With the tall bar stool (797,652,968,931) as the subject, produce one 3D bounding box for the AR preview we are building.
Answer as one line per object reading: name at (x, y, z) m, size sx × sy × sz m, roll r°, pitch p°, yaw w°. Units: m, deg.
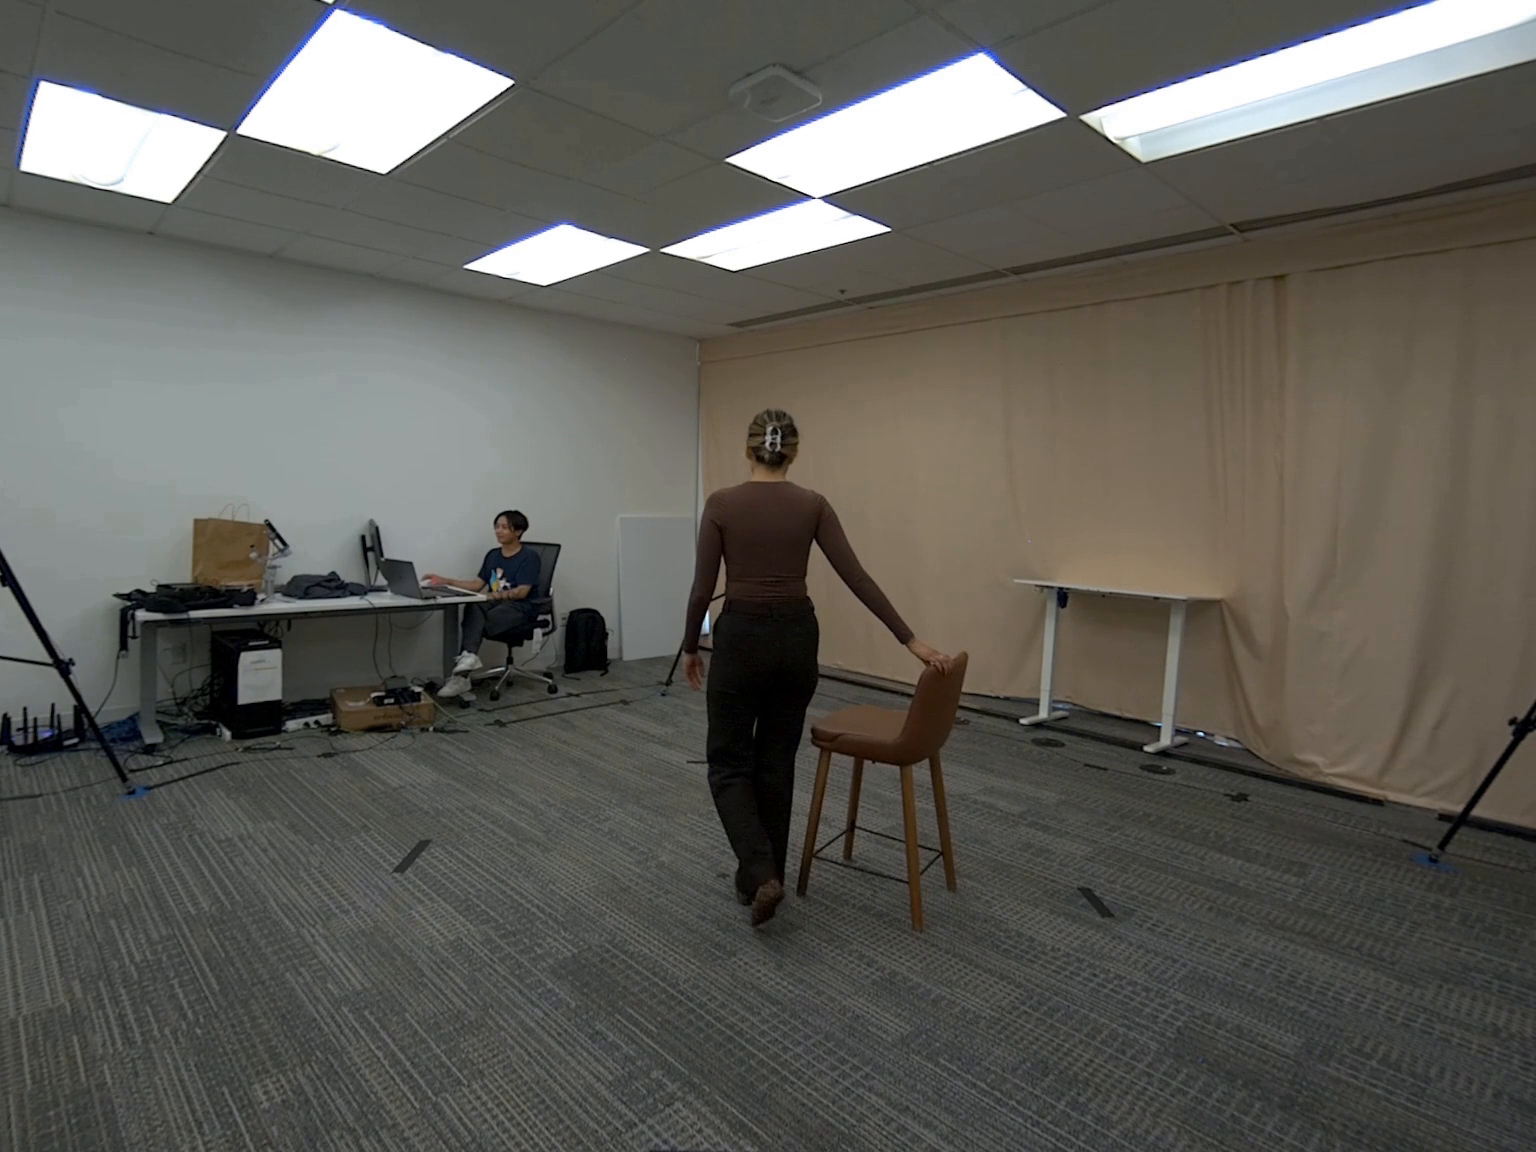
tall bar stool at (0.410, 0.694, 2.979) m, size 0.479 × 0.887 × 0.447 m, roll 6°, pitch 6°, yaw 32°
